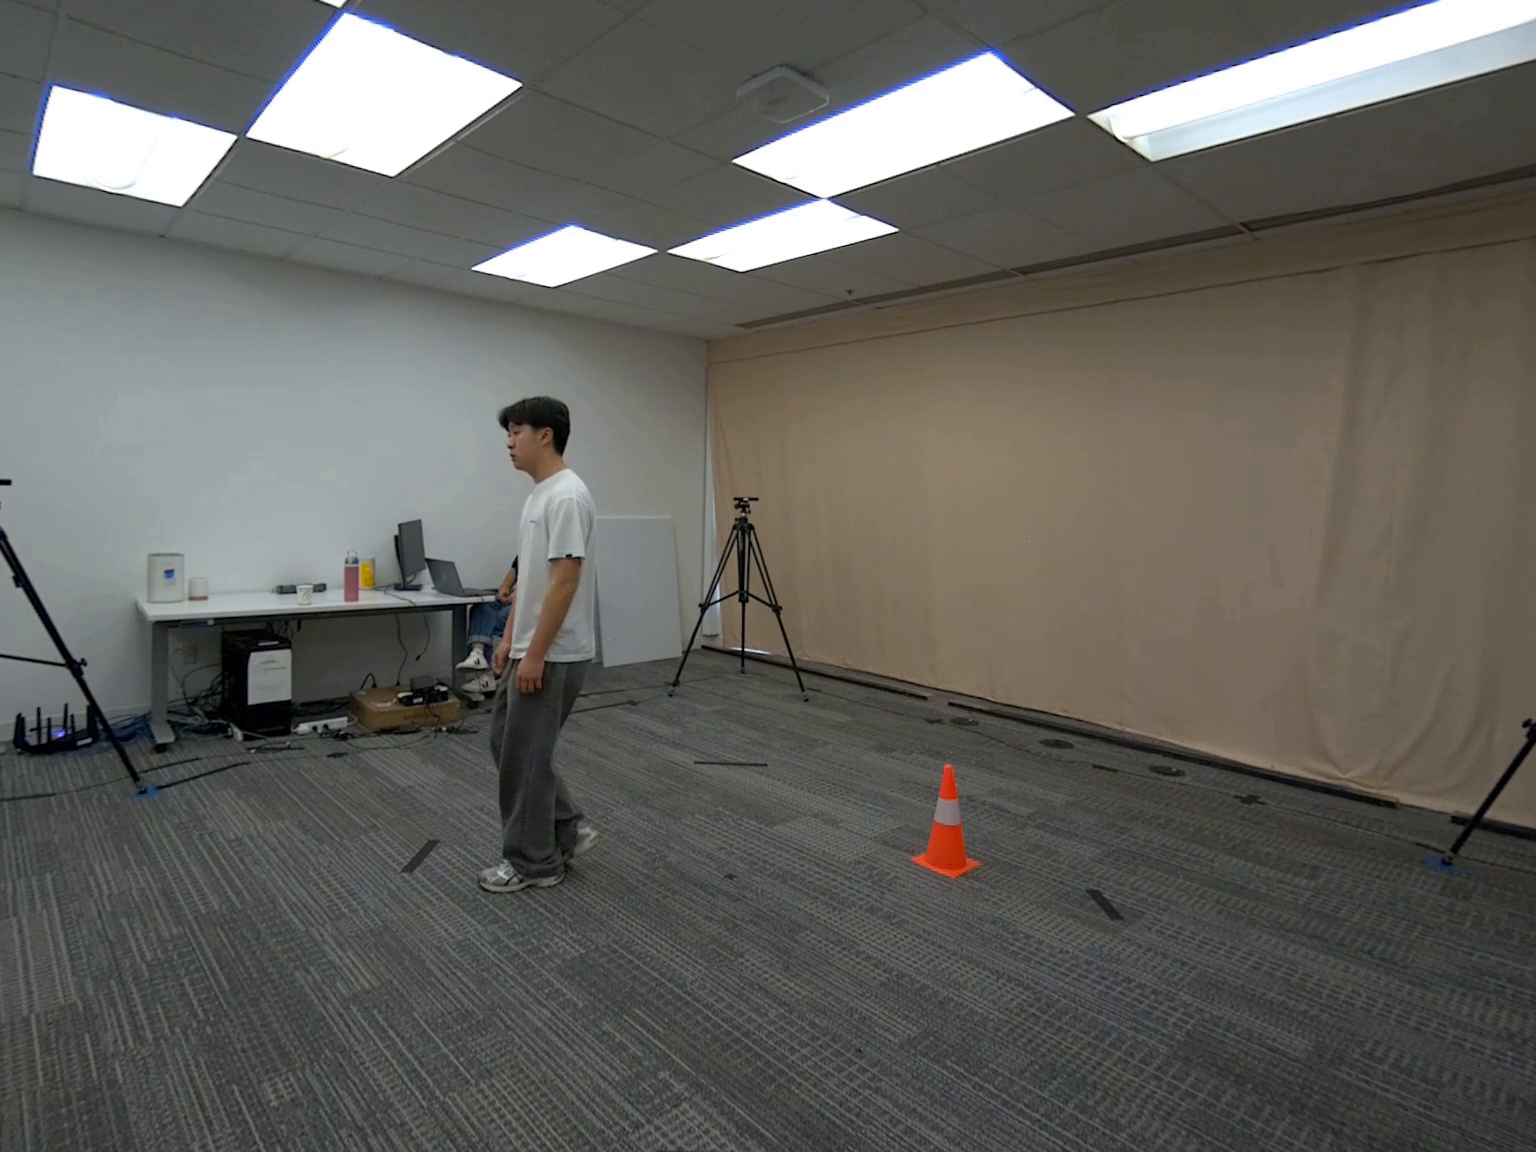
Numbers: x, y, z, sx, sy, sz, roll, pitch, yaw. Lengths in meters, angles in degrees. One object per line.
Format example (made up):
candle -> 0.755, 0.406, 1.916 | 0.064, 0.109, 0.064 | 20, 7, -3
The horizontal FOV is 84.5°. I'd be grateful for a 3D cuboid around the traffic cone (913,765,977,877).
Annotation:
traffic cone -> 0.693, 0.930, 3.263 | 0.200, 0.382, 0.209 | -1, 5, -42
